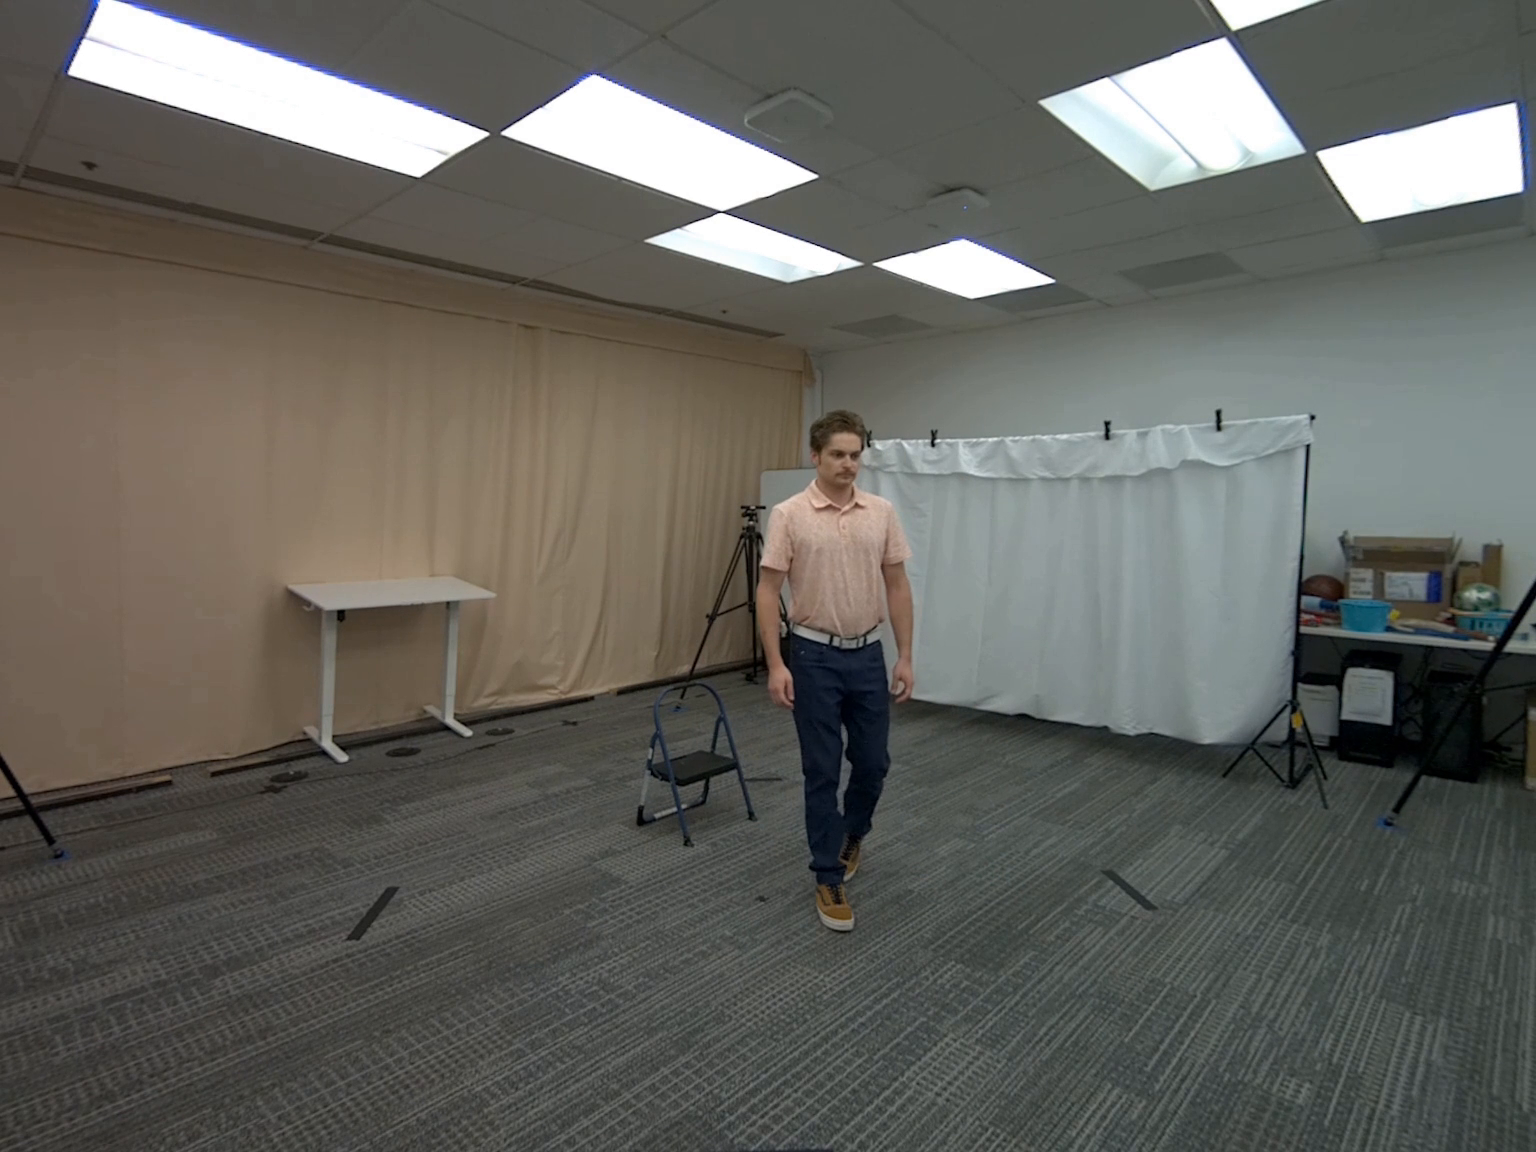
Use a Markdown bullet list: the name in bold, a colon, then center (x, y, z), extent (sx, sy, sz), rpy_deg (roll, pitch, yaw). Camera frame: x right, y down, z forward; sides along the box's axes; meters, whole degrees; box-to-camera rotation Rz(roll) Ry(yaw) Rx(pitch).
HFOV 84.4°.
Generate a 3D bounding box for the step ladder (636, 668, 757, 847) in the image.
- **step ladder**: center (-0.316, 0.784, 3.696), extent (0.361, 0.605, 0.417), rpy_deg (2, 3, 42)
